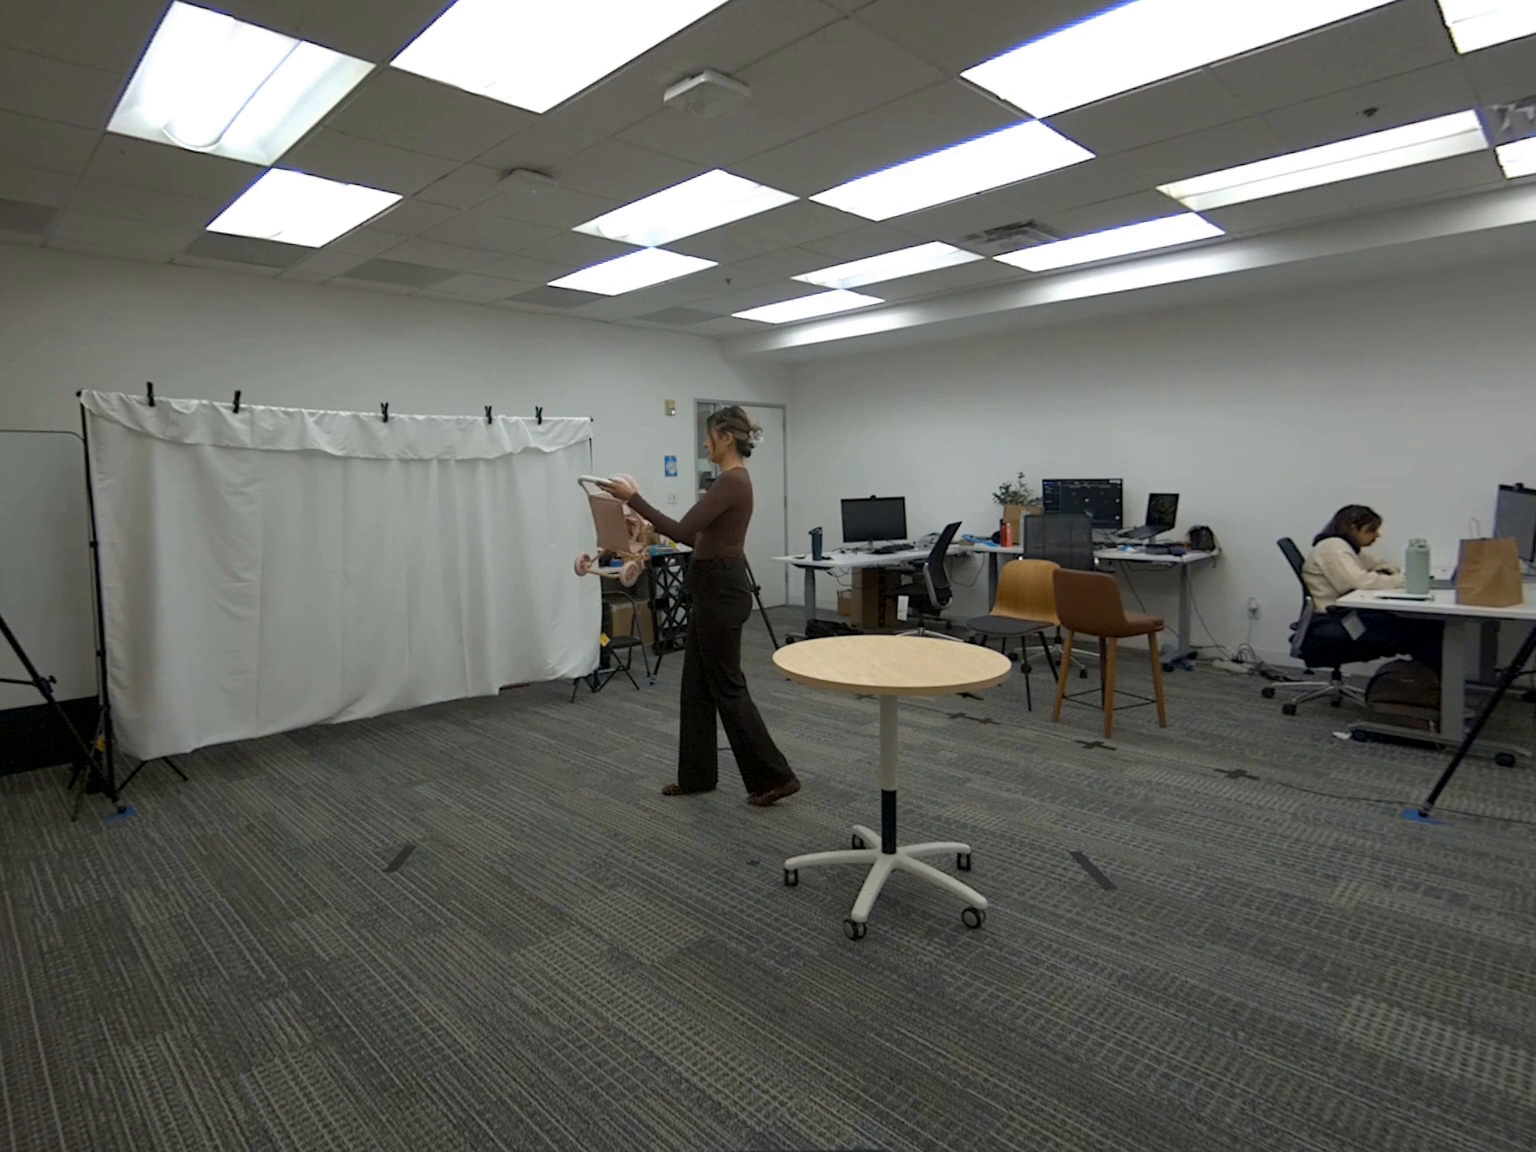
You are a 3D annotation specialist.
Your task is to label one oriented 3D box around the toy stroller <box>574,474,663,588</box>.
[{"bbox_3d":[-0.645,-0.207,3.749,0.290,0.526,0.337,11,22,29],"label":"toy stroller"}]
